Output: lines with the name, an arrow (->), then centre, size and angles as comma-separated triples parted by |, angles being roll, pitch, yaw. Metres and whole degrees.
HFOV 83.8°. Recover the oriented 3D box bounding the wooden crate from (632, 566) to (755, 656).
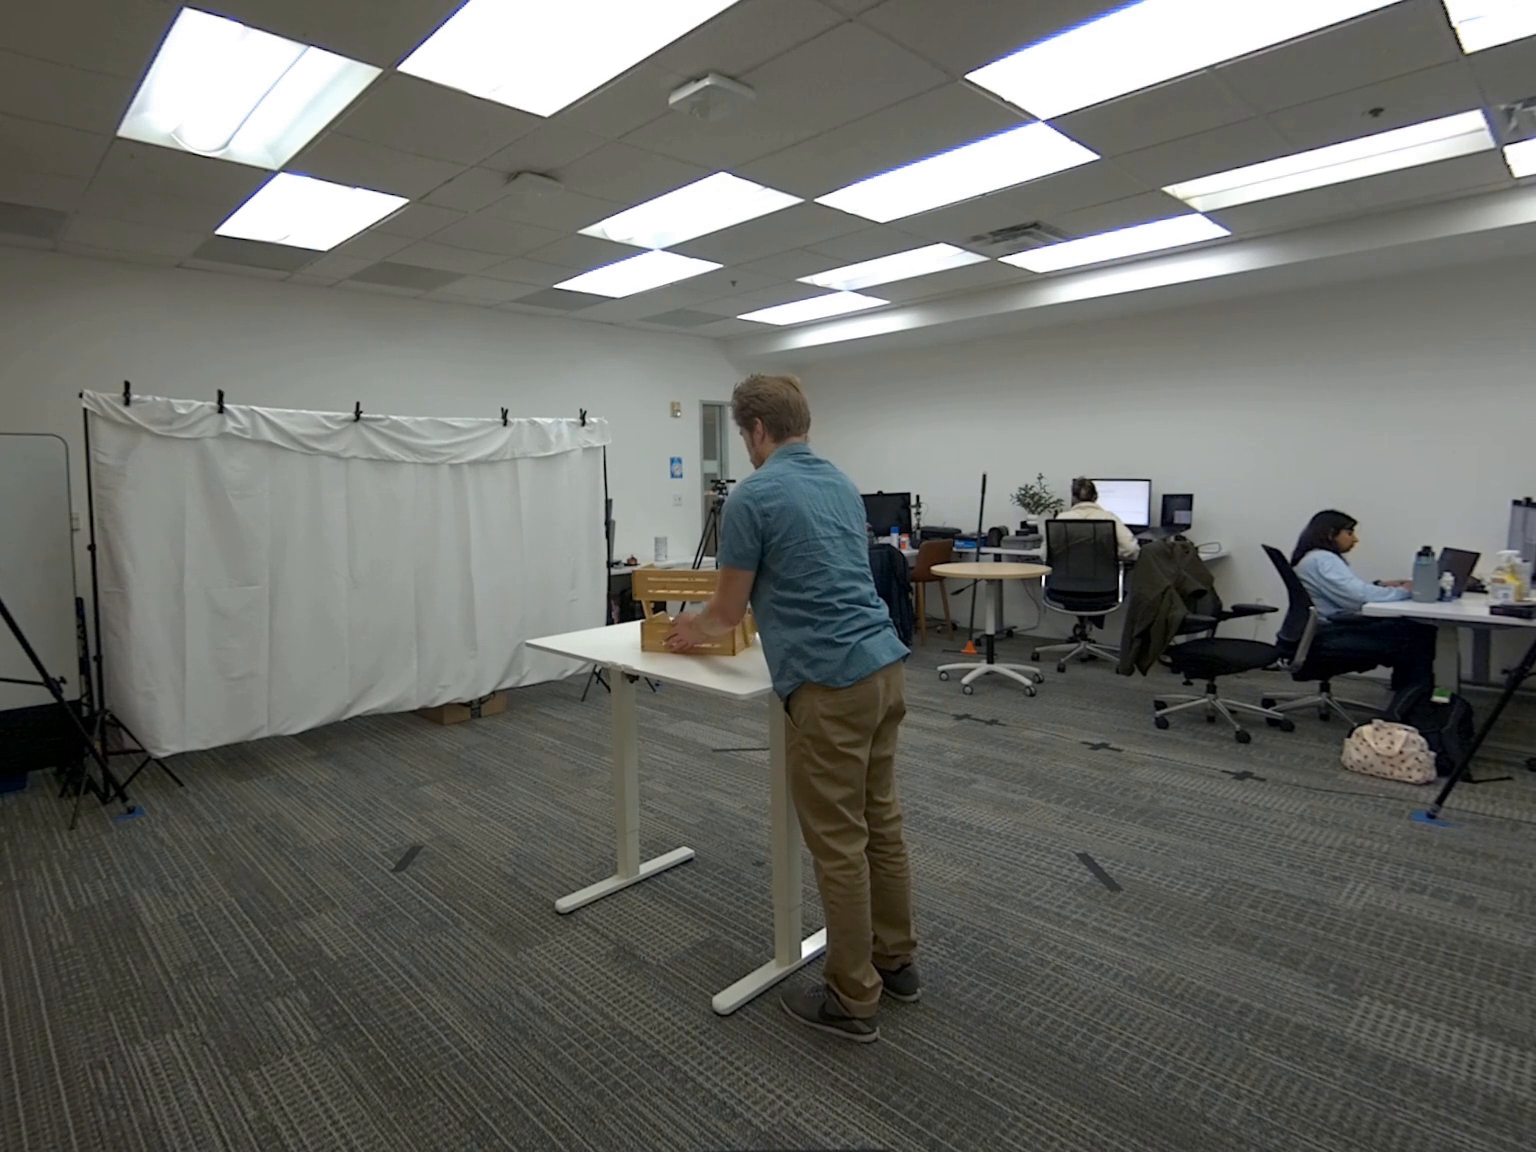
wooden crate -> -0.221, 0.091, 2.647 | 0.329, 0.272, 0.299 | 0, 6, 14
